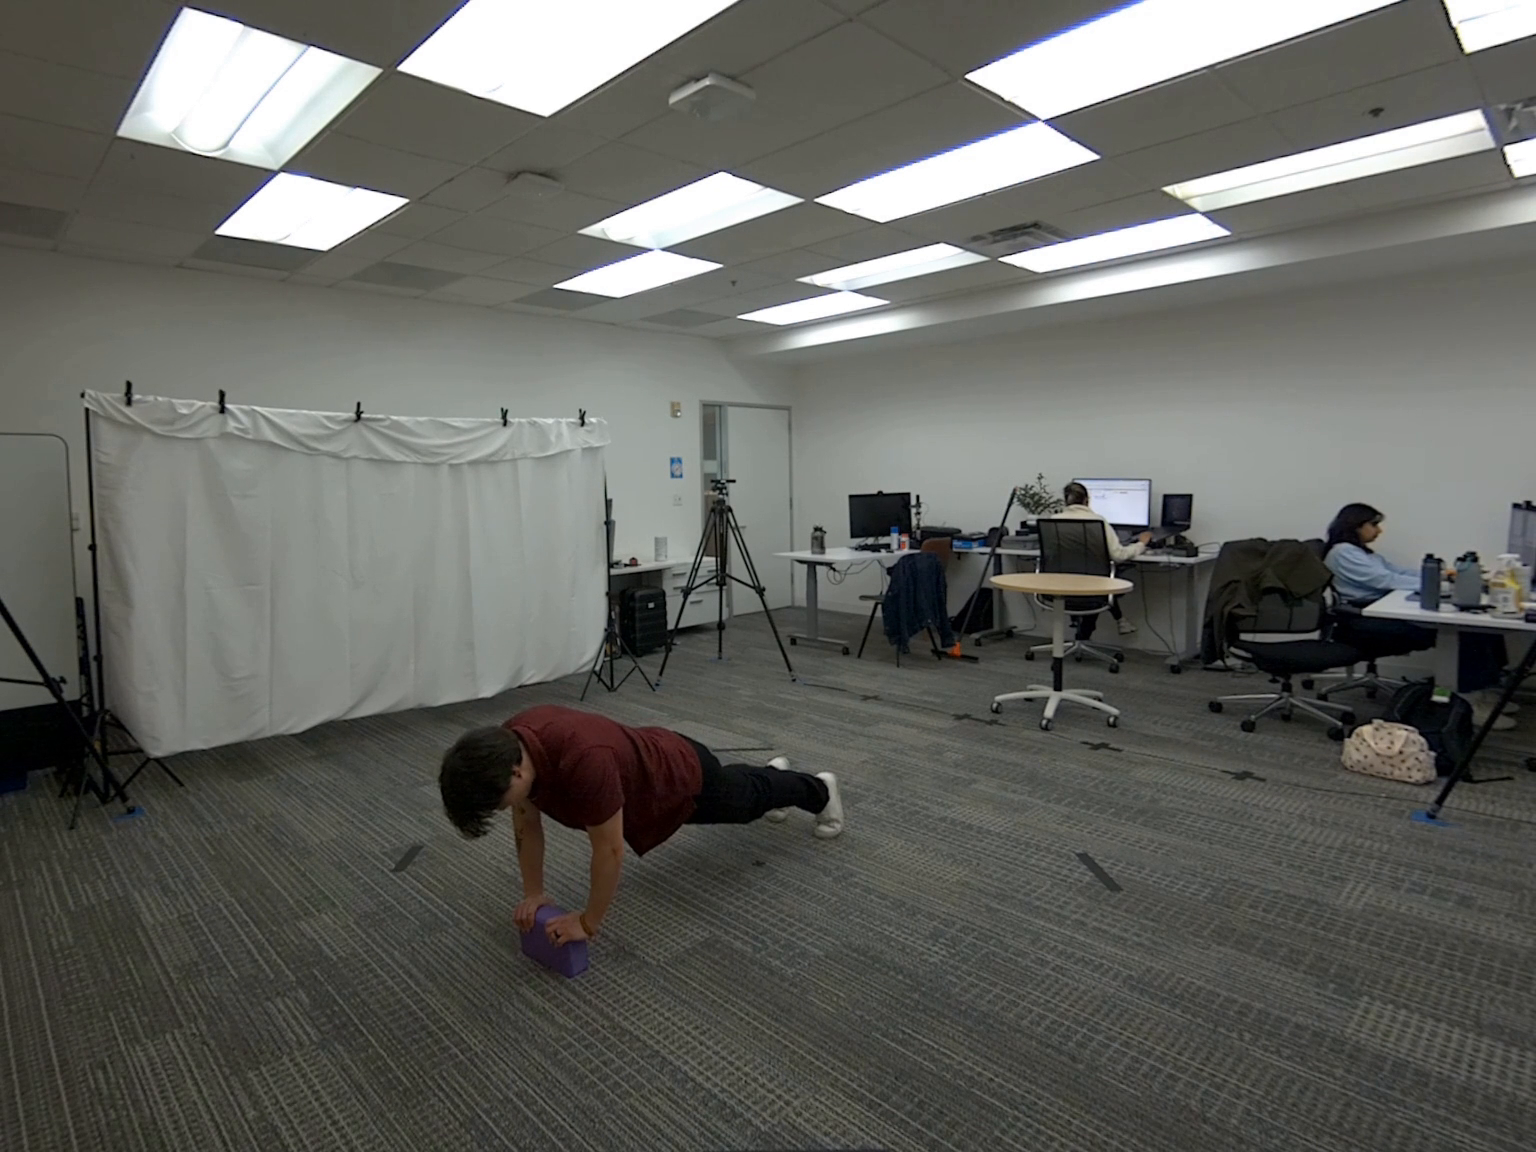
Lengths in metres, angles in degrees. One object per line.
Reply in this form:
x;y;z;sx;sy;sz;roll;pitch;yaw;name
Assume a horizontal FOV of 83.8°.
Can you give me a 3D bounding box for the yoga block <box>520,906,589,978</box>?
-0.625;1.064;2.502;0.236;0.148;0.075;4;10;37;yoga block
